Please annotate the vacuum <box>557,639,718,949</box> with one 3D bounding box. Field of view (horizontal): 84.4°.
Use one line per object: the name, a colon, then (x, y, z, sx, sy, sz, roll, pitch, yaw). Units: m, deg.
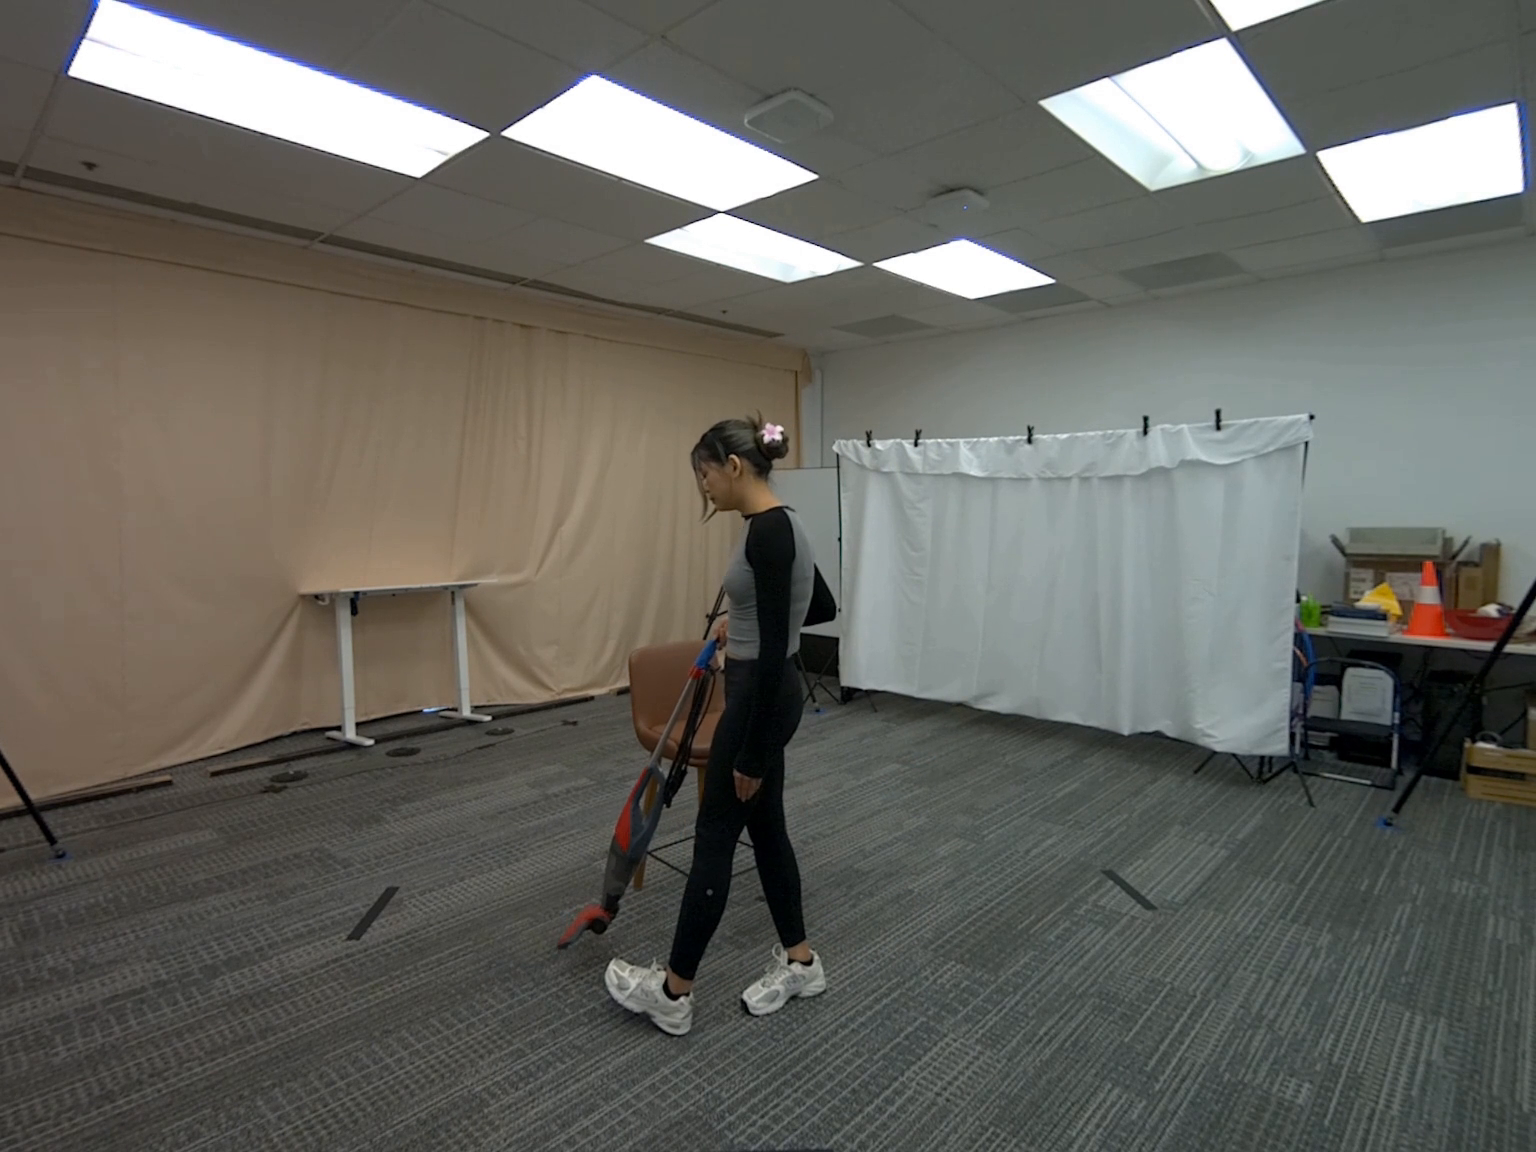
vacuum: (-0.312, 0.587, 2.511, 0.146, 1.048, 0.250, 27, 6, 8)
